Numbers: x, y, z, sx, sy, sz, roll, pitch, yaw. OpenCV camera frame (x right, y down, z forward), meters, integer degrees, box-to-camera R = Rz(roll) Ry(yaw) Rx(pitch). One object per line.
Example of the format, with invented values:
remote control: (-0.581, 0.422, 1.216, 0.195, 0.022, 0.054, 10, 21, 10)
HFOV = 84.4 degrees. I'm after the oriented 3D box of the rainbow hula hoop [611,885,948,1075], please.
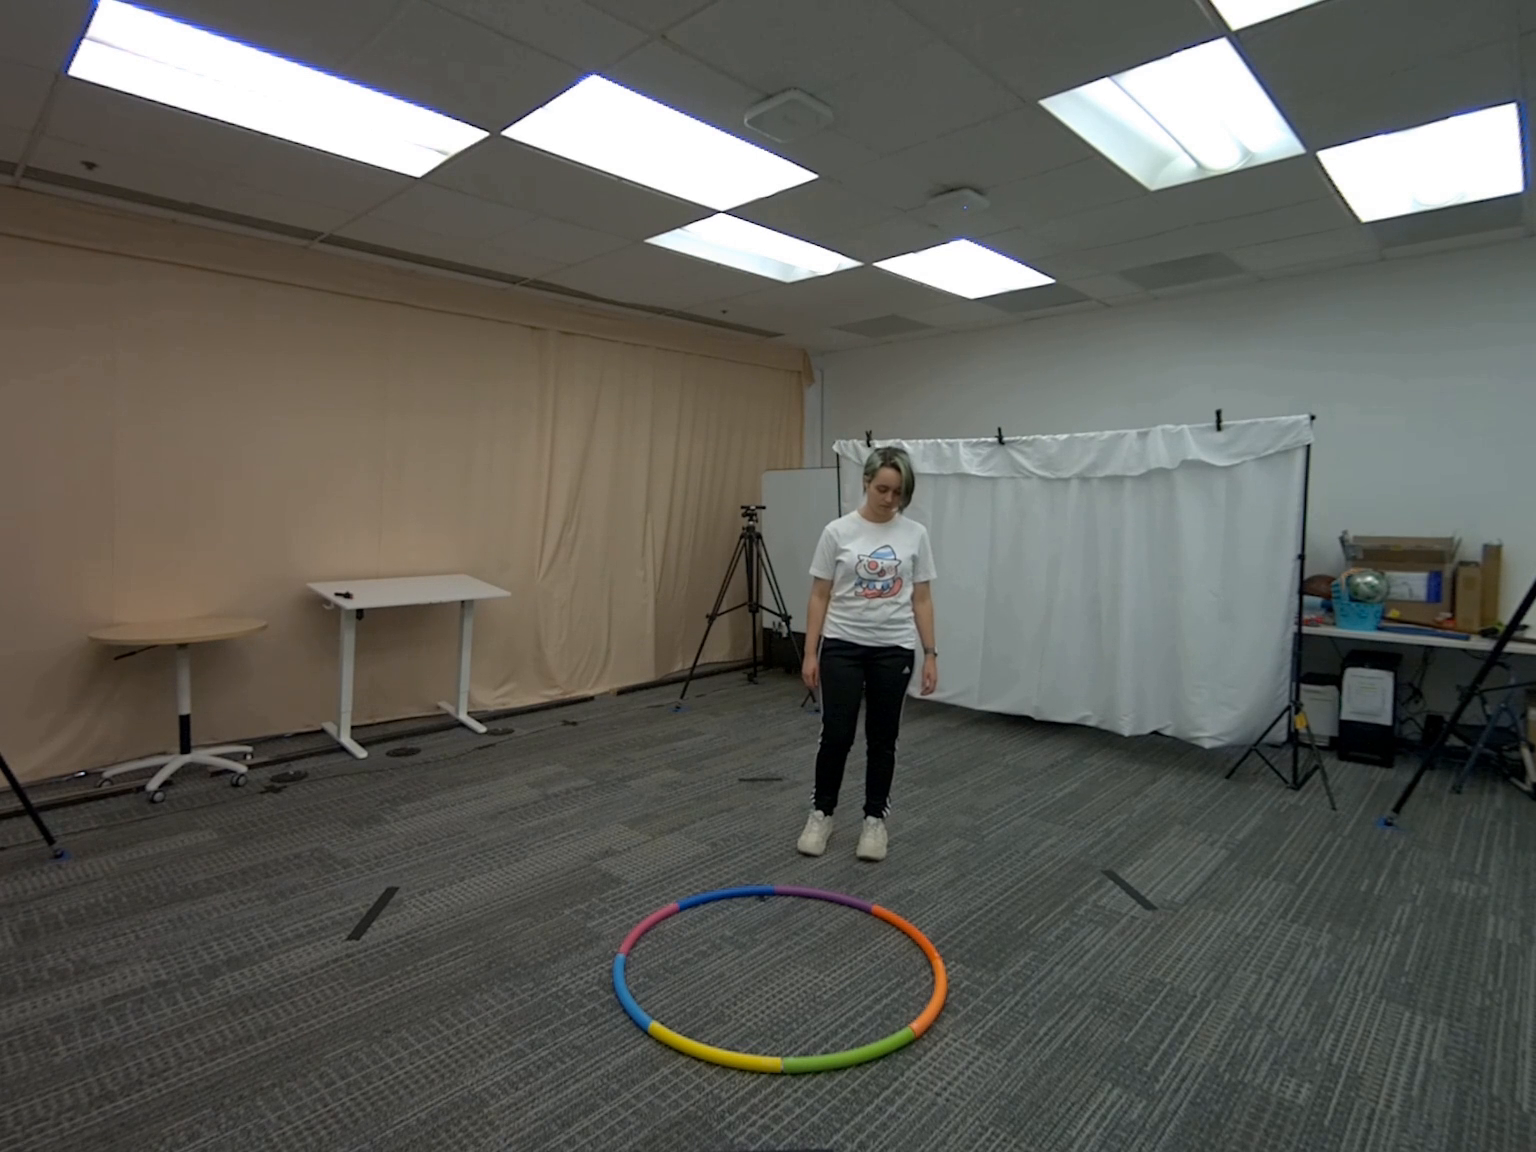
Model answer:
rainbow hula hoop: (0.031, 1.150, 2.547, 0.978, 0.035, 0.982, 0, 4, -2)
